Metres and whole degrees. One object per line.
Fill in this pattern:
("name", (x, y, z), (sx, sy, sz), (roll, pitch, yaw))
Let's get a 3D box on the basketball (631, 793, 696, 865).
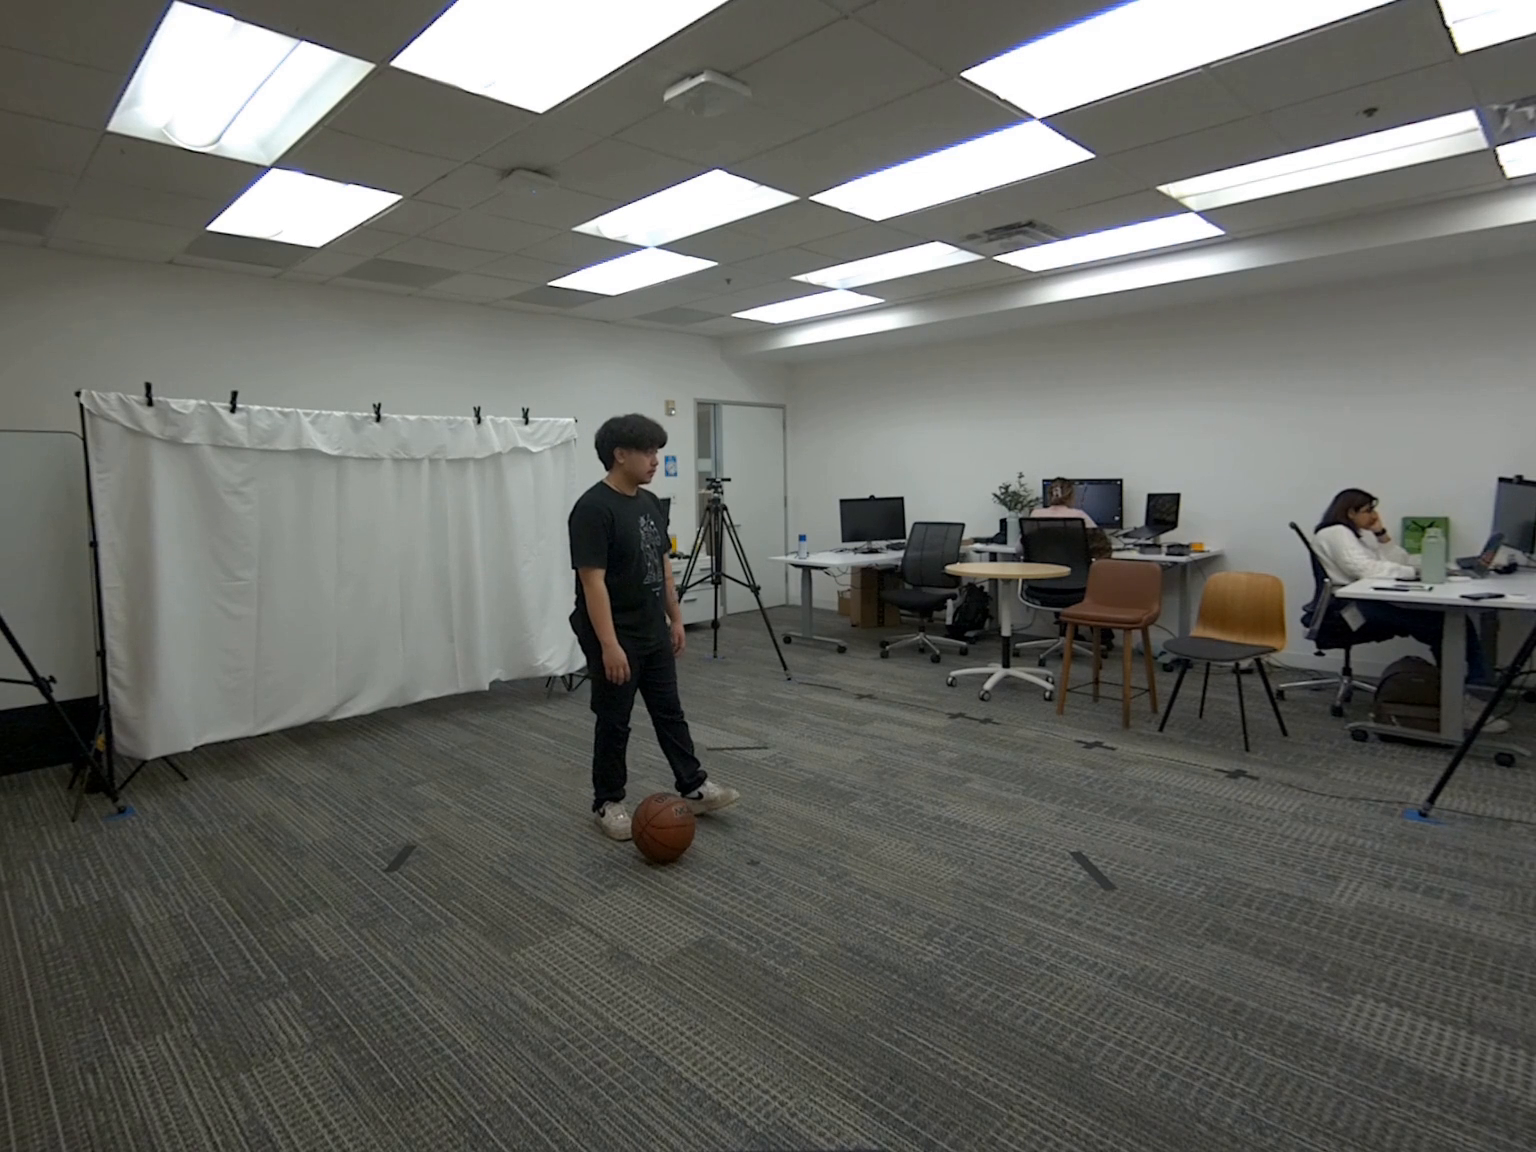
("basketball", (-0.383, 0.925, 3.151), (0.236, 0.235, 0.237), (-1, 5, -2))
